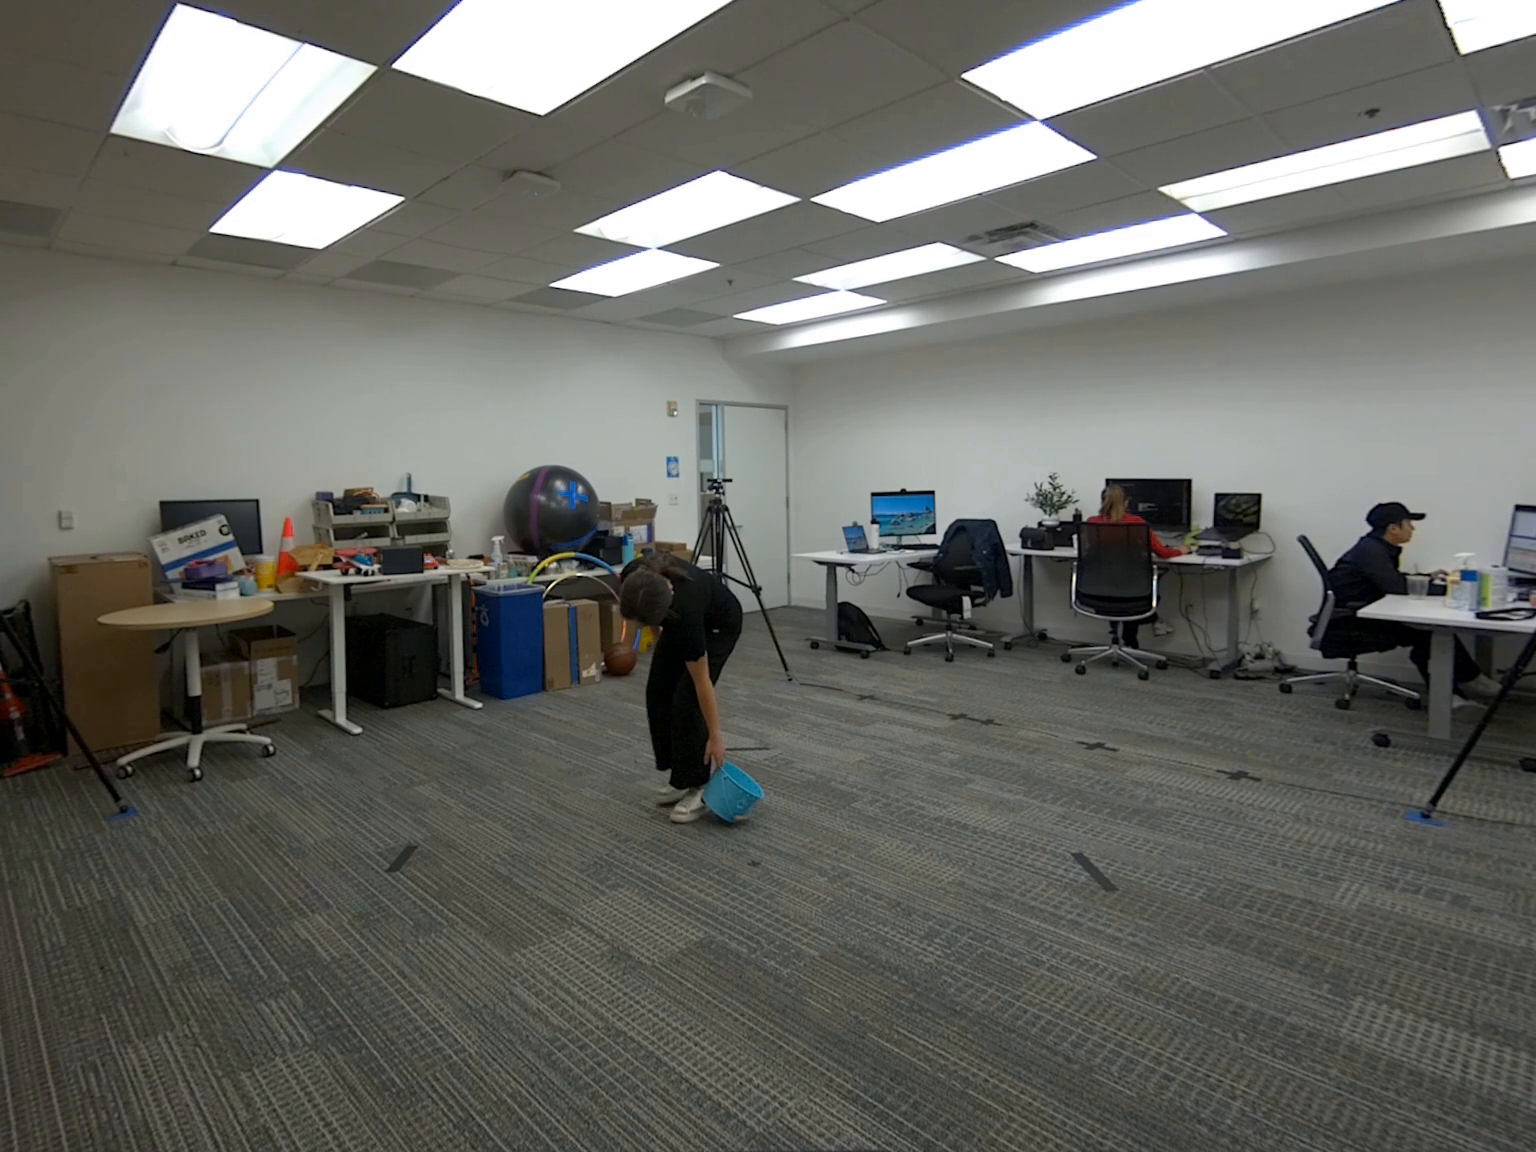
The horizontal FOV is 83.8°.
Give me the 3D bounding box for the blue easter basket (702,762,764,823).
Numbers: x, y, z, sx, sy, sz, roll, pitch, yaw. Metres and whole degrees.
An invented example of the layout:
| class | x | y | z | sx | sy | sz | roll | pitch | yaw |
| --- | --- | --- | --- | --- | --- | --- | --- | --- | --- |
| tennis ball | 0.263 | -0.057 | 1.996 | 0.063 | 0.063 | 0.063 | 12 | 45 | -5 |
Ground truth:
| class | x | y | z | sx | sy | sz | roll | pitch | yaw |
| --- | --- | --- | --- | --- | --- | --- | --- | --- | --- |
| blue easter basket | -0.148 | 0.887 | 3.494 | 0.243 | 0.156 | 0.244 | 36 | 2 | -3 |
